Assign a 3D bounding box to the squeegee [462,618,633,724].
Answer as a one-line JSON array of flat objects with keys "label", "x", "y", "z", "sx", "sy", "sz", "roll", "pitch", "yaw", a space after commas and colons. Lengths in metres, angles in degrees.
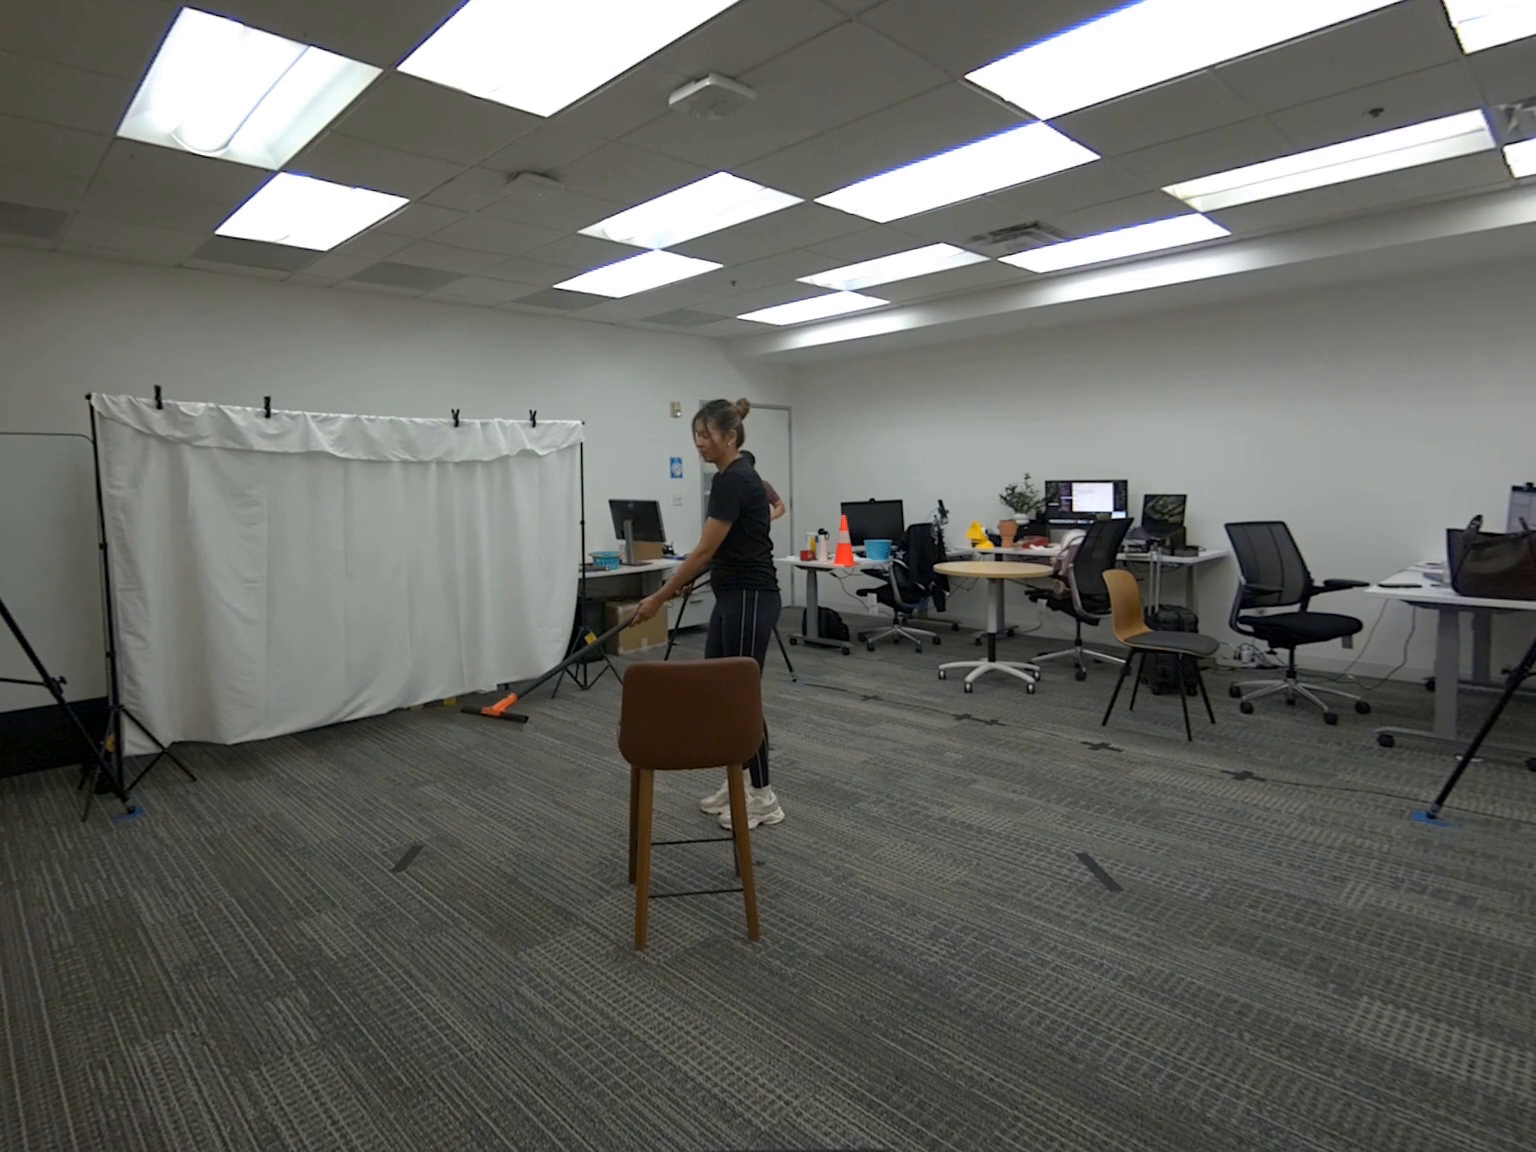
[{"label": "squeegee", "x": -0.476, "y": 0.126, "z": 3.376, "sx": 0.448, "sy": 0.052, "sz": 1.525, "roll": -8, "pitch": 22, "yaw": 44}]
